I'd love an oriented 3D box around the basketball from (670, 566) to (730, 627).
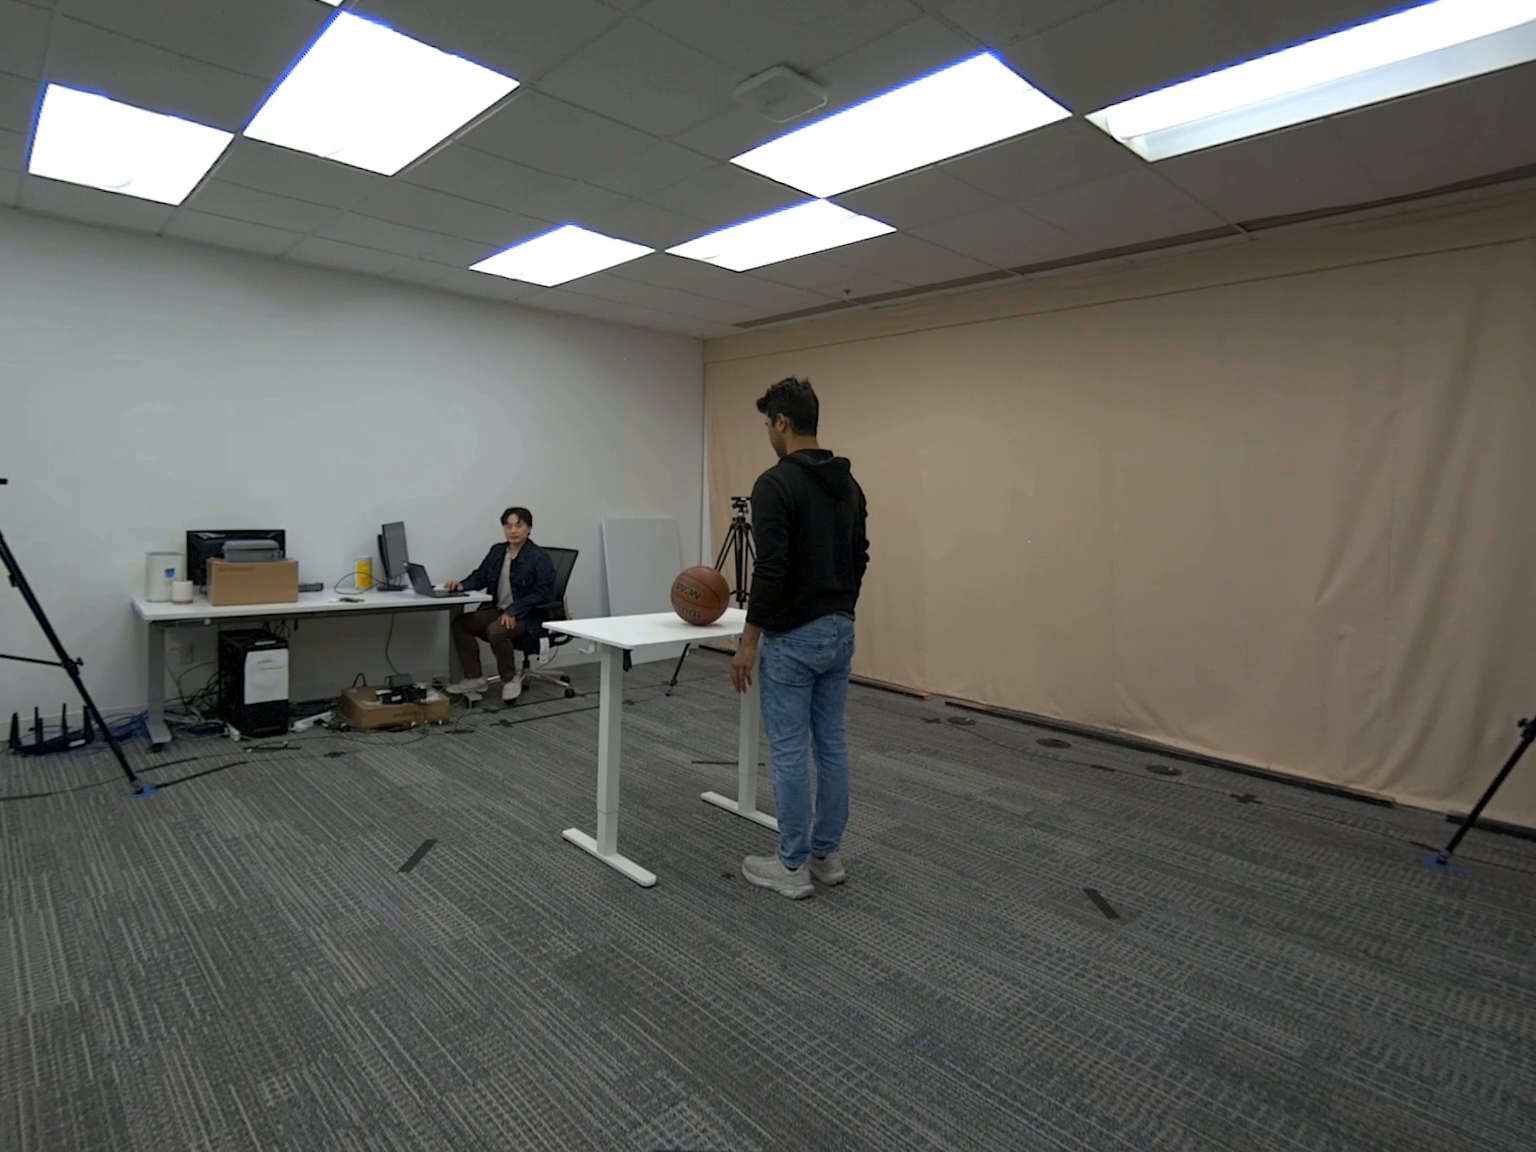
[{"bbox_3d":[-0.281,0.079,3.393,0.236,0.235,0.237,1,4,-1],"label":"basketball"}]
